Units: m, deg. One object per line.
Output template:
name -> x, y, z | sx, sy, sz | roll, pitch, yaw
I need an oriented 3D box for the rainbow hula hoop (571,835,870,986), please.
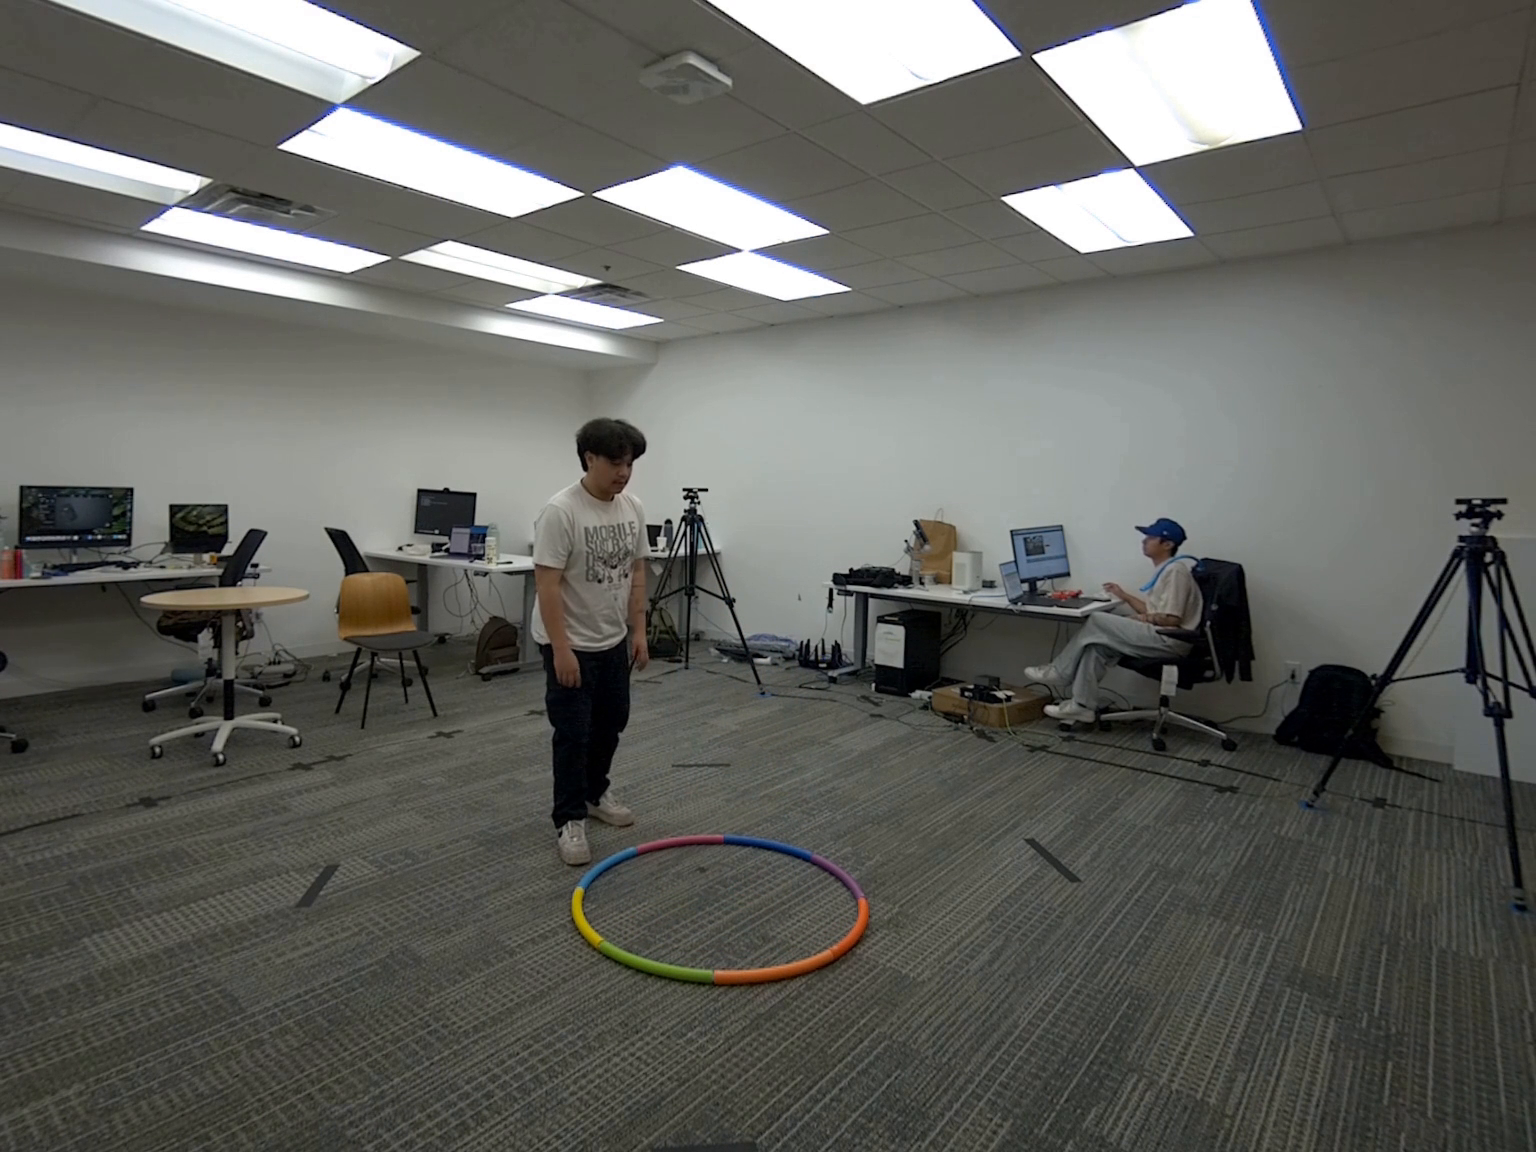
rainbow hula hoop -> -0.170, 1.068, 2.862 | 0.984, 0.051, 0.990 | 1, 5, -2
